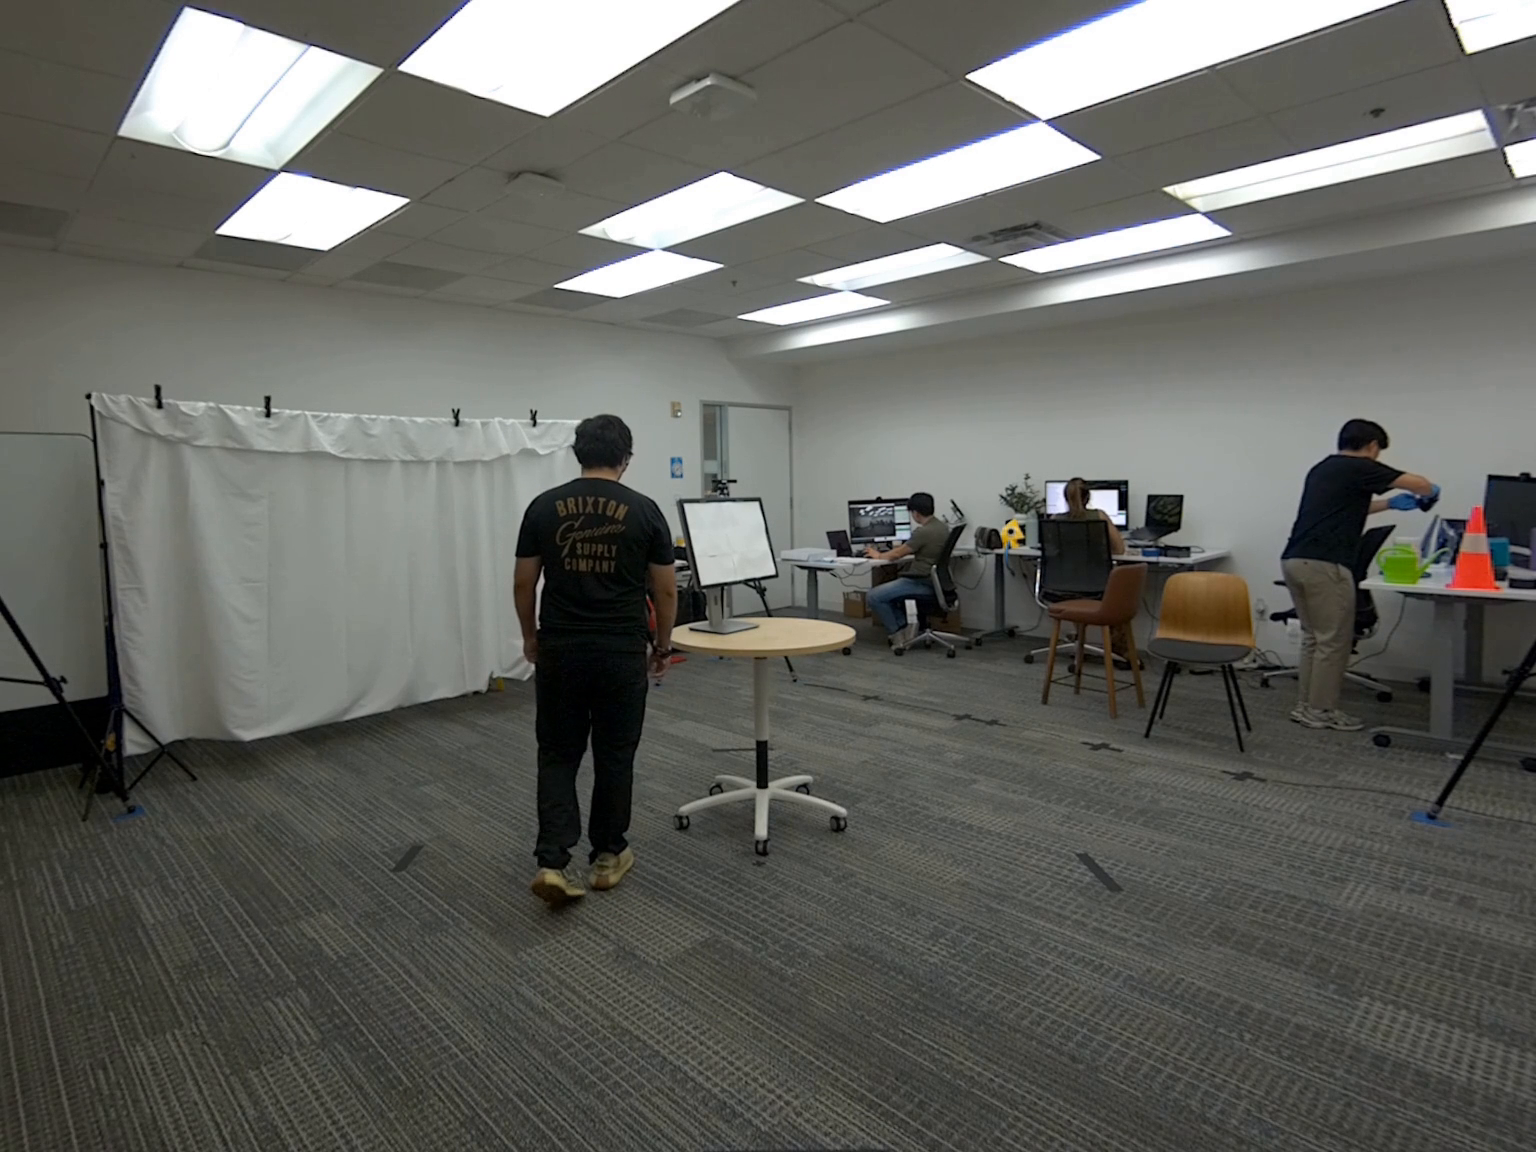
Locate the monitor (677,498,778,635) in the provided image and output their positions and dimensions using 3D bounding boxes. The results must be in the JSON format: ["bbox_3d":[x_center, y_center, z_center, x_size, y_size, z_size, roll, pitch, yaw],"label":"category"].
[{"bbox_3d":[-0.206,-0.048,3.570,0.215,0.554,0.552,-7,0,35],"label":"monitor"}]
